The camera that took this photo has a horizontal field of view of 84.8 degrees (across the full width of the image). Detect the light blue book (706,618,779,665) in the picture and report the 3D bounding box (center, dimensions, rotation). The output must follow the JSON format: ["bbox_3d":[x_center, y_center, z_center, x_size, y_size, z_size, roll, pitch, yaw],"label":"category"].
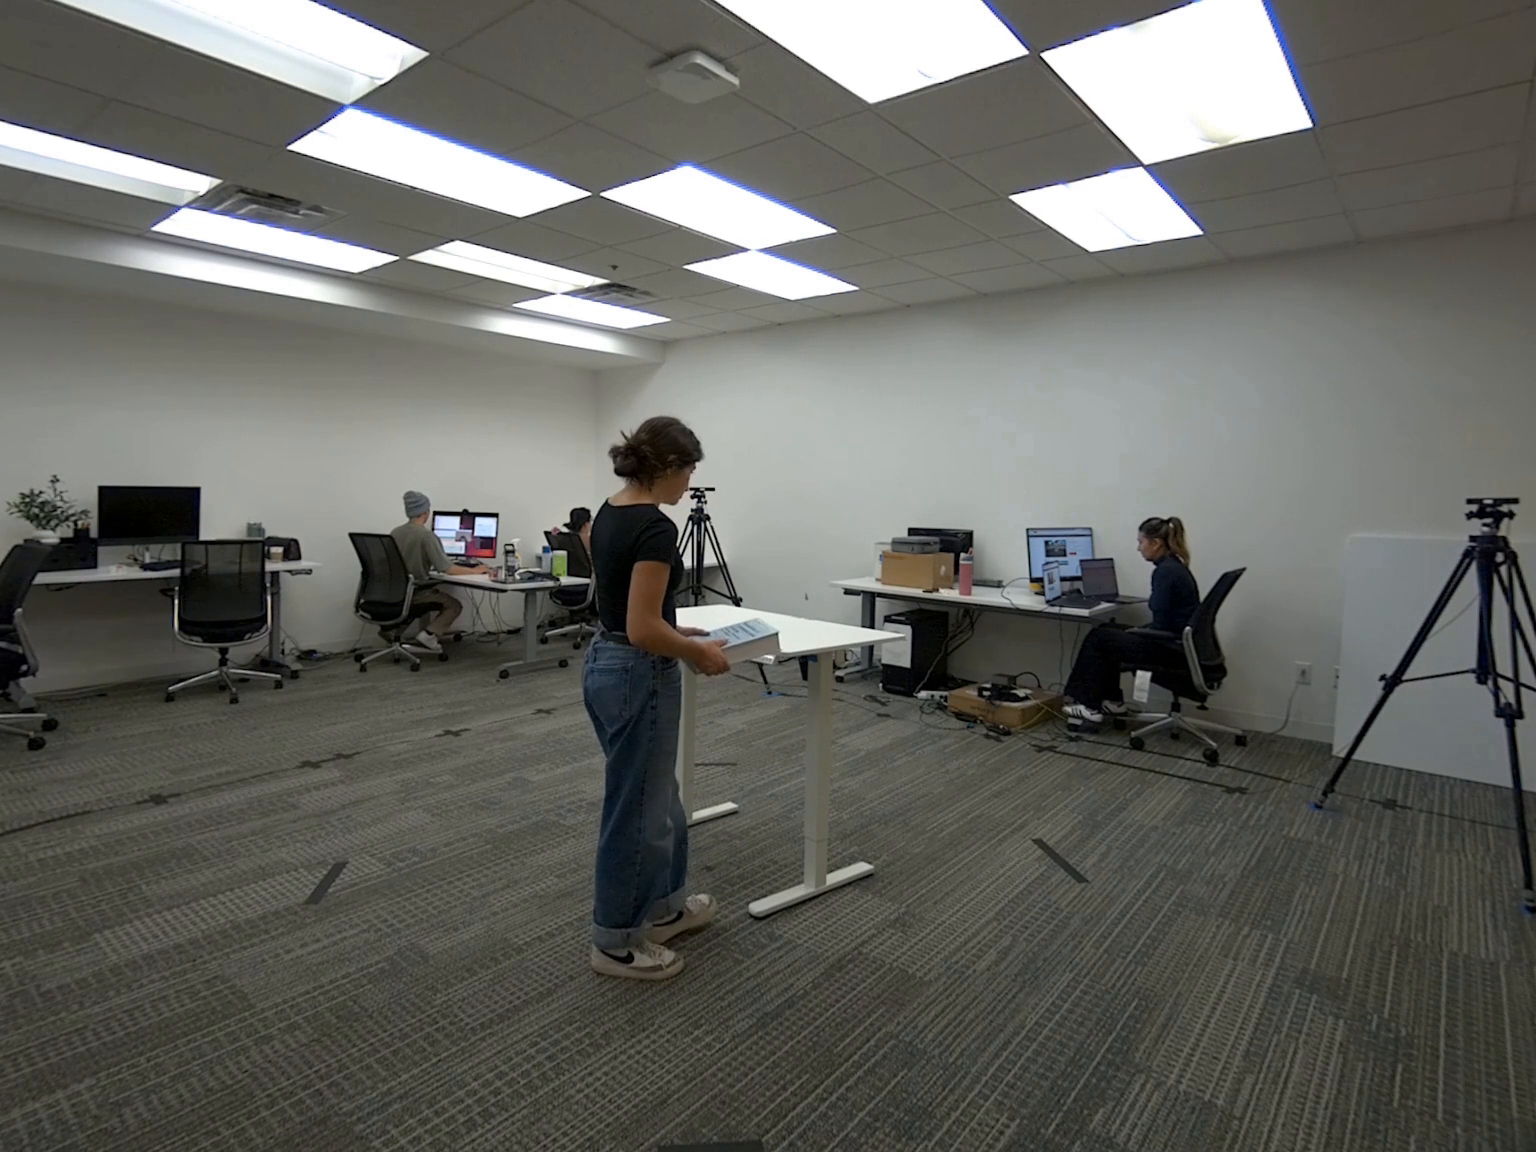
[{"bbox_3d":[-0.128,0.209,2.429,0.258,0.058,0.197,-16,16,-16],"label":"light blue book"}]
